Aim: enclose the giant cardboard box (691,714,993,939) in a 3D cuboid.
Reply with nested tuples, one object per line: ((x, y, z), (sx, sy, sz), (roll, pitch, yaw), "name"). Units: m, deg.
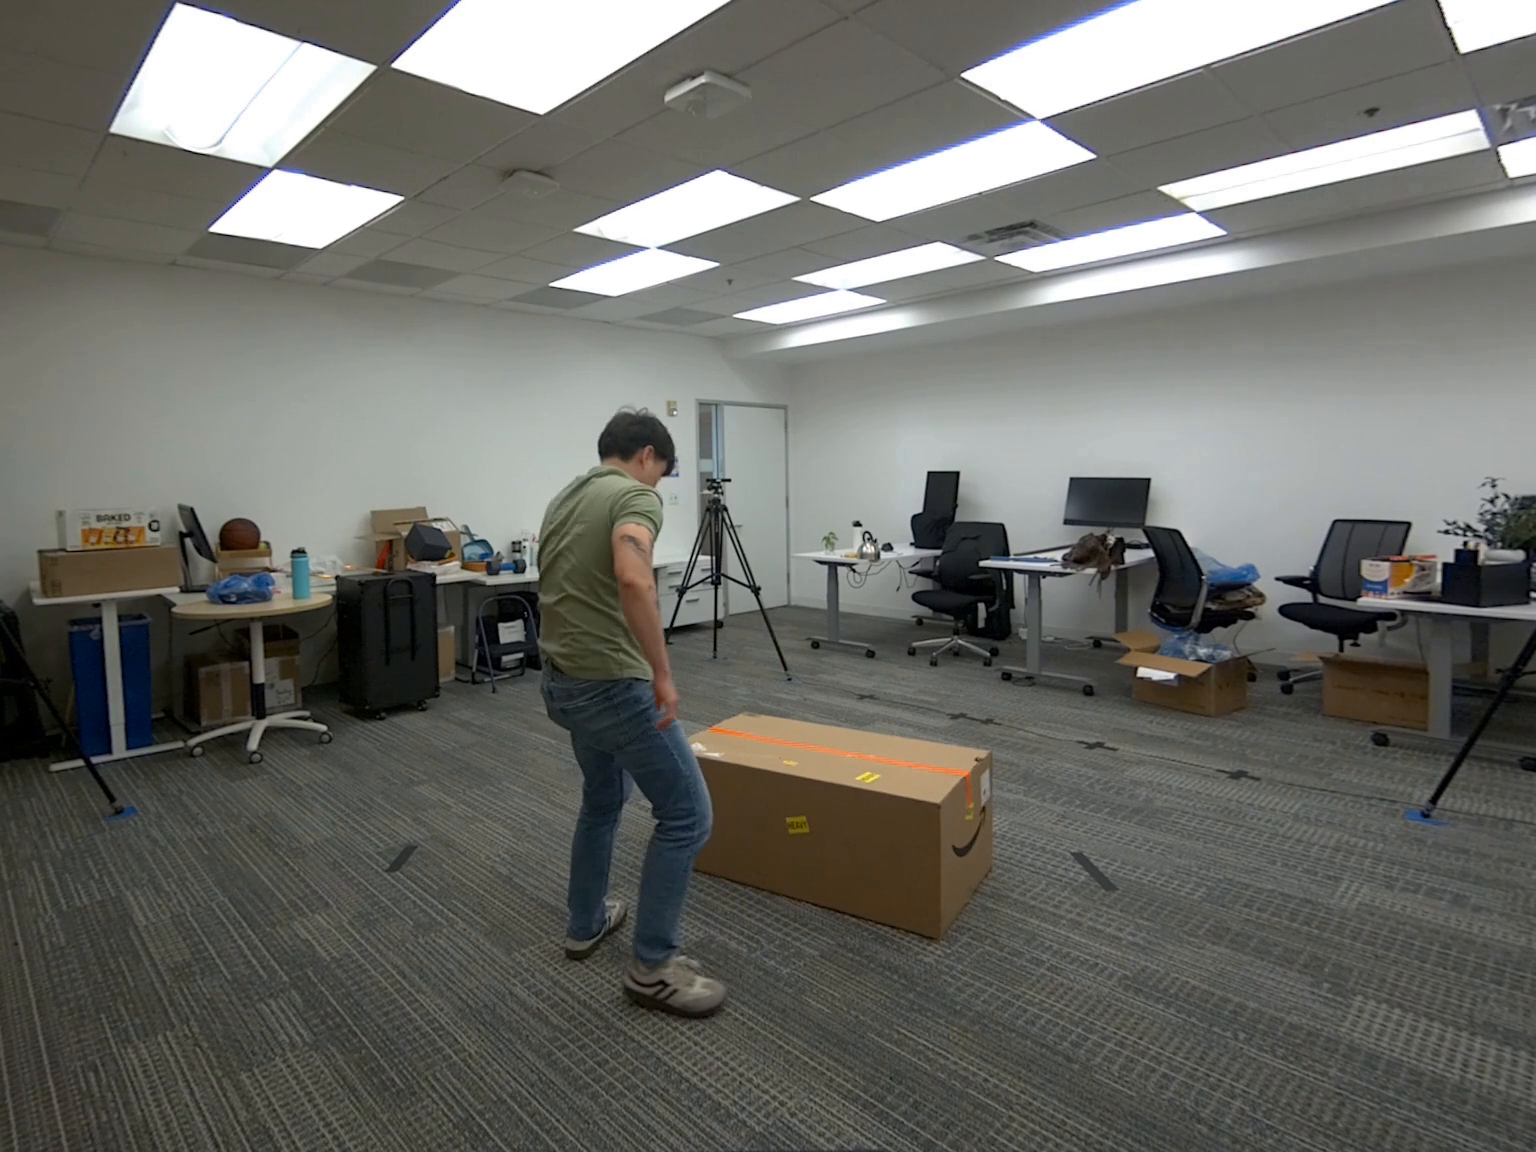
((0.215, 0.829, 3.065), (1.054, 0.424, 0.565), (3, 7, 32), "giant cardboard box")
